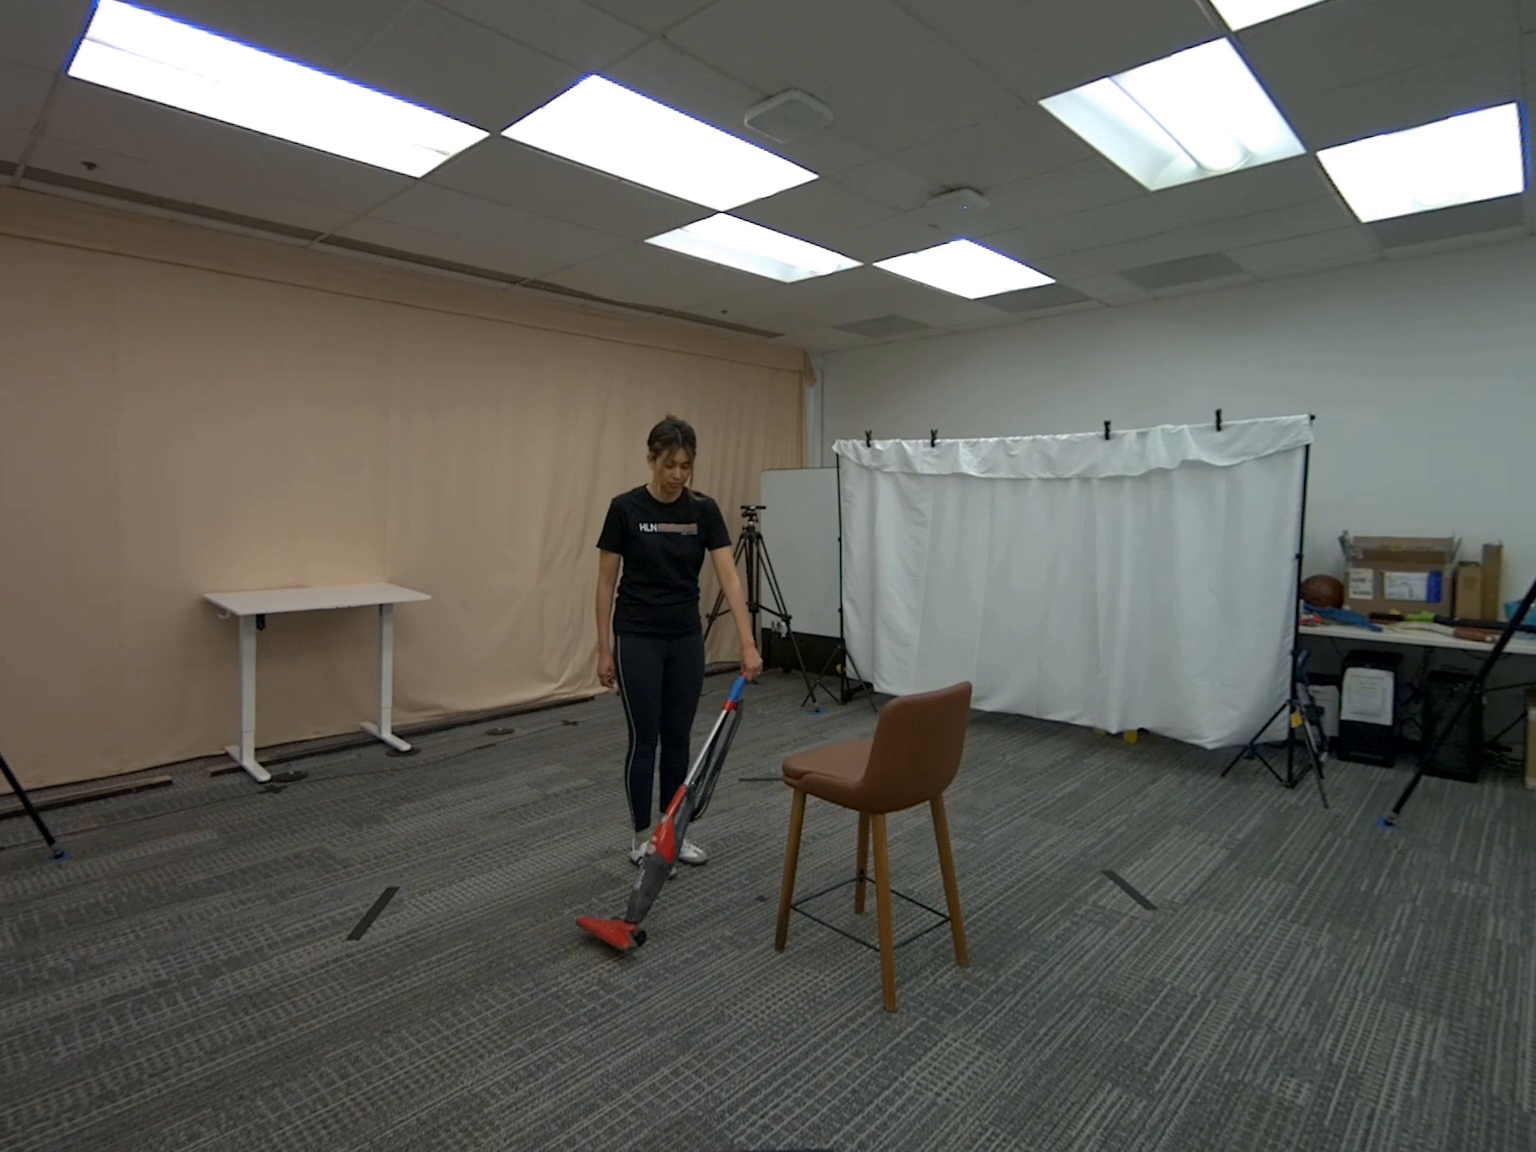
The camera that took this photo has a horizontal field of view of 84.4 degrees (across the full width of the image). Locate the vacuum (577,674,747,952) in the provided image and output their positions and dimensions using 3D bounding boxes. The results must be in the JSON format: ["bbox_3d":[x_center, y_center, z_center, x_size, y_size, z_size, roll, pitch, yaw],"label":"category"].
[{"bbox_3d":[-0.246,0.735,2.906,0.261,1.049,0.139,7,-34,37],"label":"vacuum"}]
